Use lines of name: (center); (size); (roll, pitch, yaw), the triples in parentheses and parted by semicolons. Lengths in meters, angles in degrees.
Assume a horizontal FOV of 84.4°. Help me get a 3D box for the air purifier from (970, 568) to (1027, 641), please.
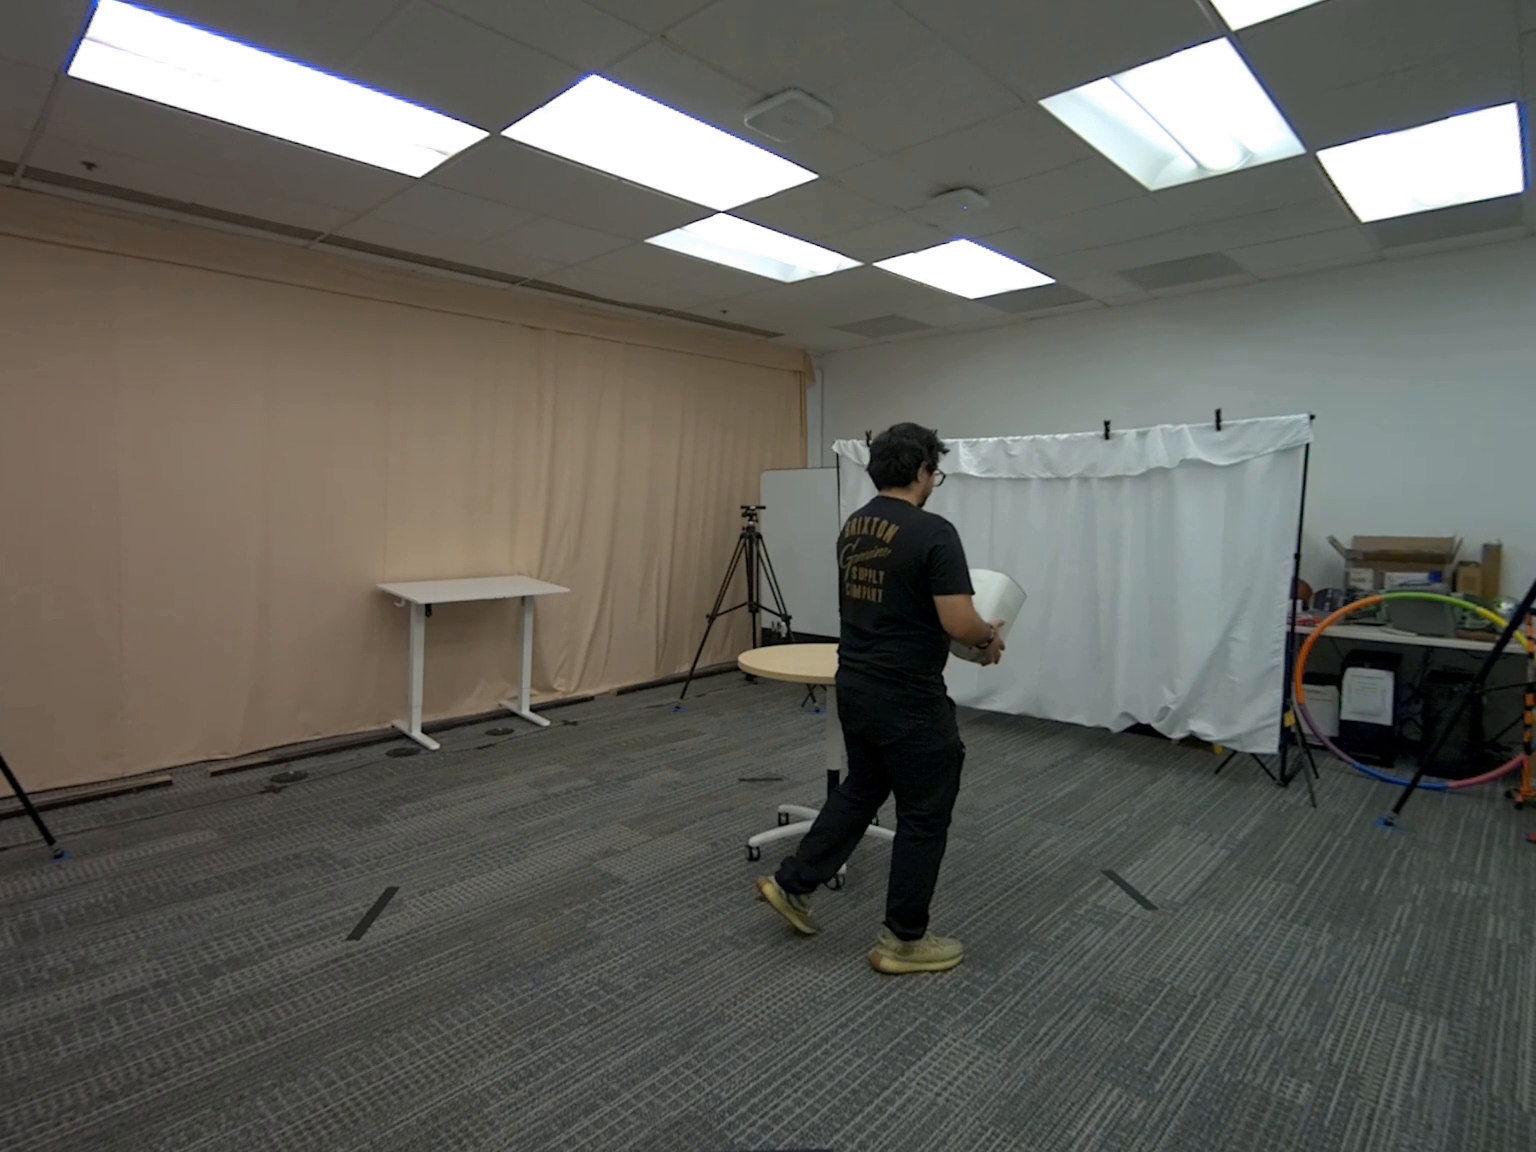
air purifier: (0.684, 0.132, 2.690); (0.168, 0.262, 0.173); (40, -18, -32)
